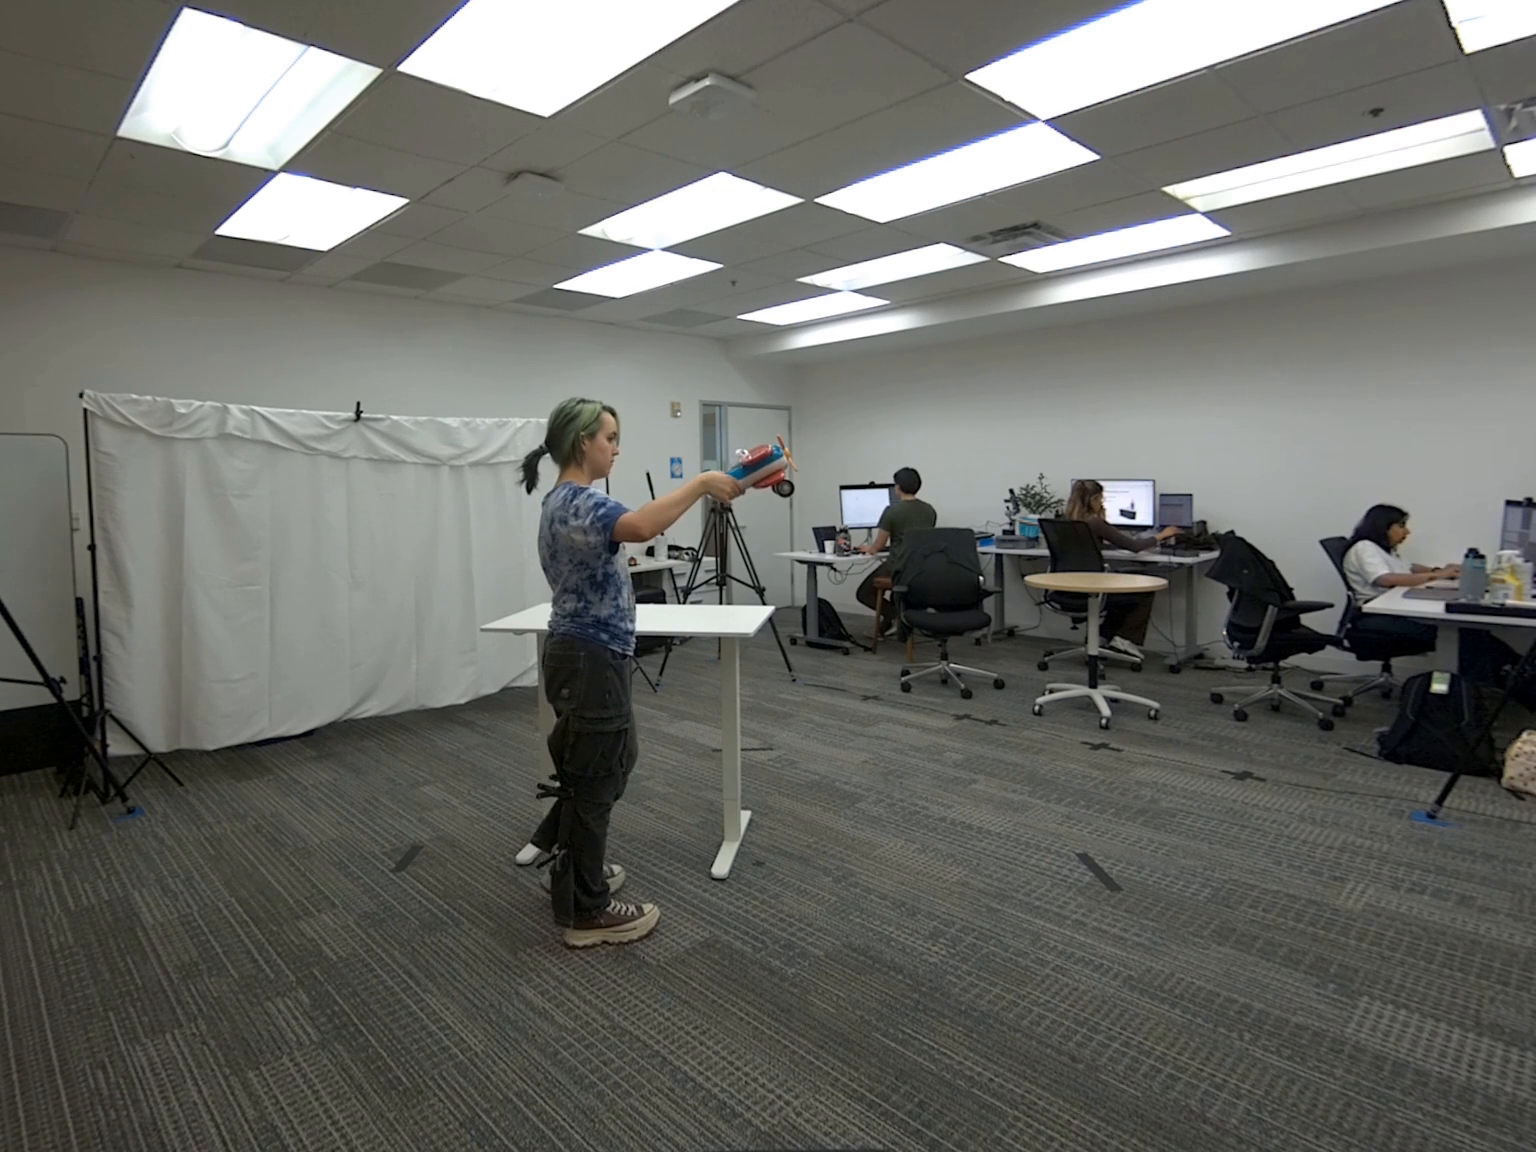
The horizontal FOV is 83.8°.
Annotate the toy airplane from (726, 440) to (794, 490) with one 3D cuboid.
[{"bbox_3d":[-0.045,-0.277,2.421,0.255,0.155,0.257,-22,12,-30],"label":"toy airplane"}]
